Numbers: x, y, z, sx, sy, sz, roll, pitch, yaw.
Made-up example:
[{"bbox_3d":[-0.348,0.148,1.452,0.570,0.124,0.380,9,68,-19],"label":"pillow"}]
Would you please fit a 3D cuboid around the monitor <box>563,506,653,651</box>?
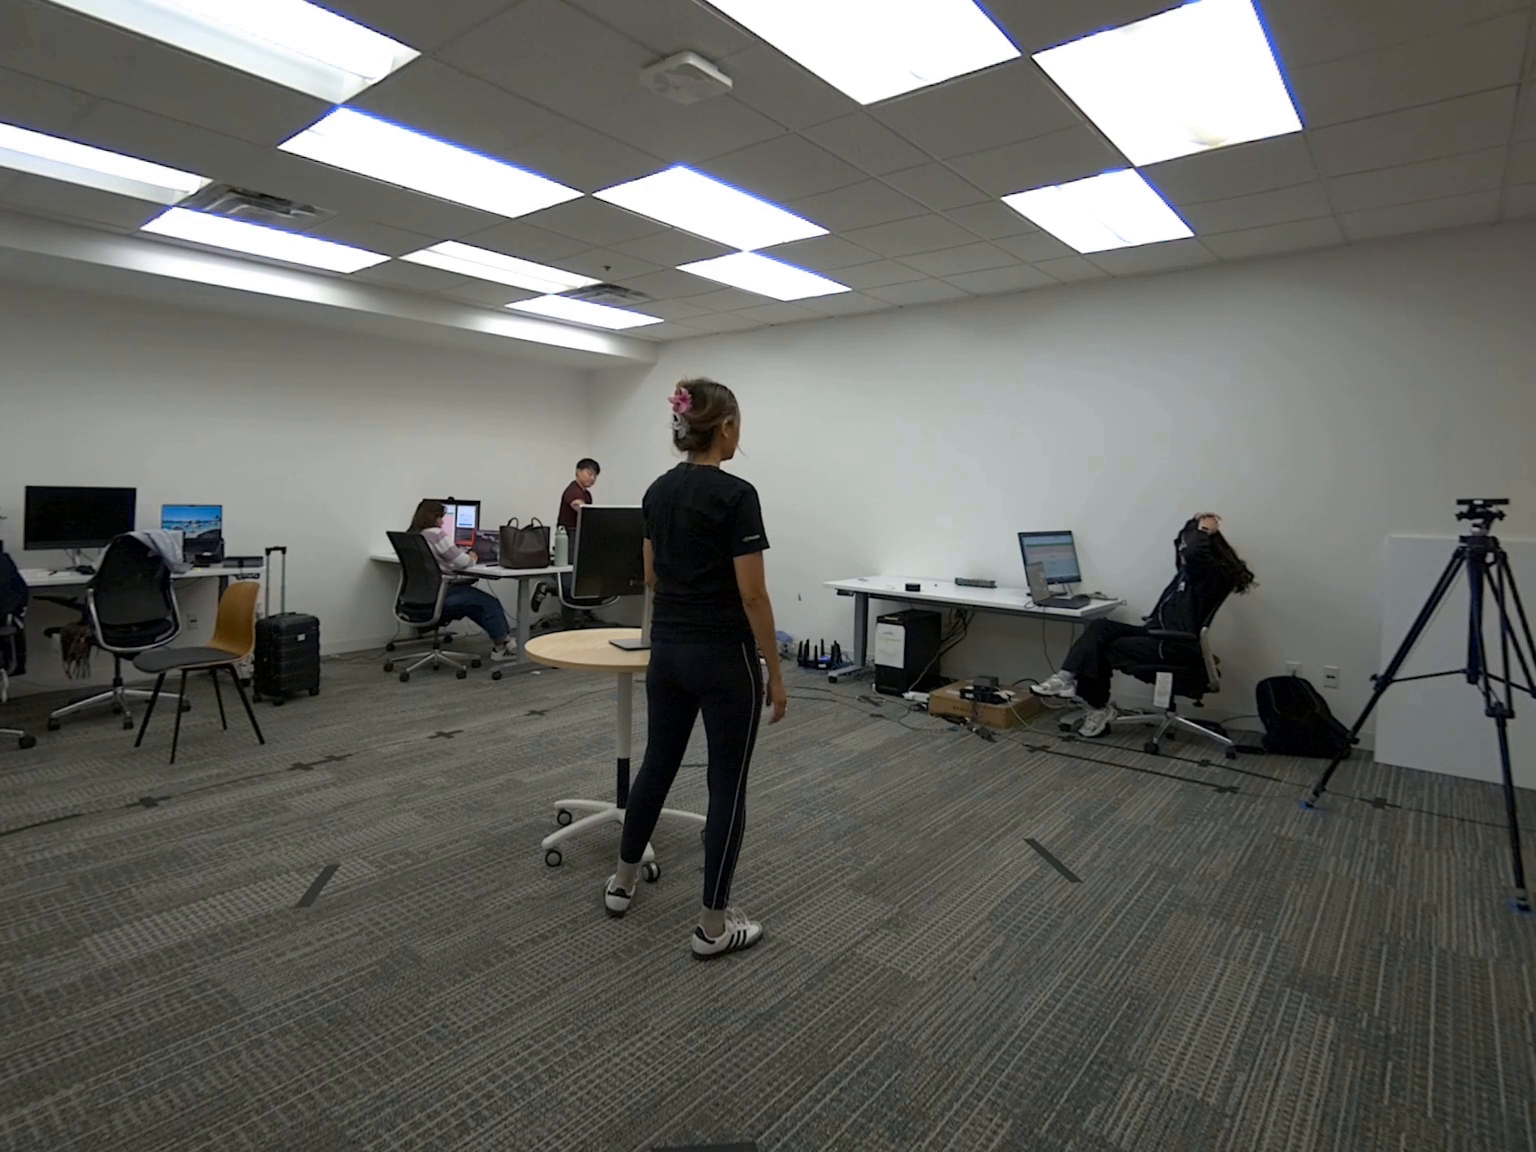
[{"bbox_3d":[-0.478,0.002,3.293,0.524,0.521,0.193,-2,5,-32],"label":"monitor"}]
